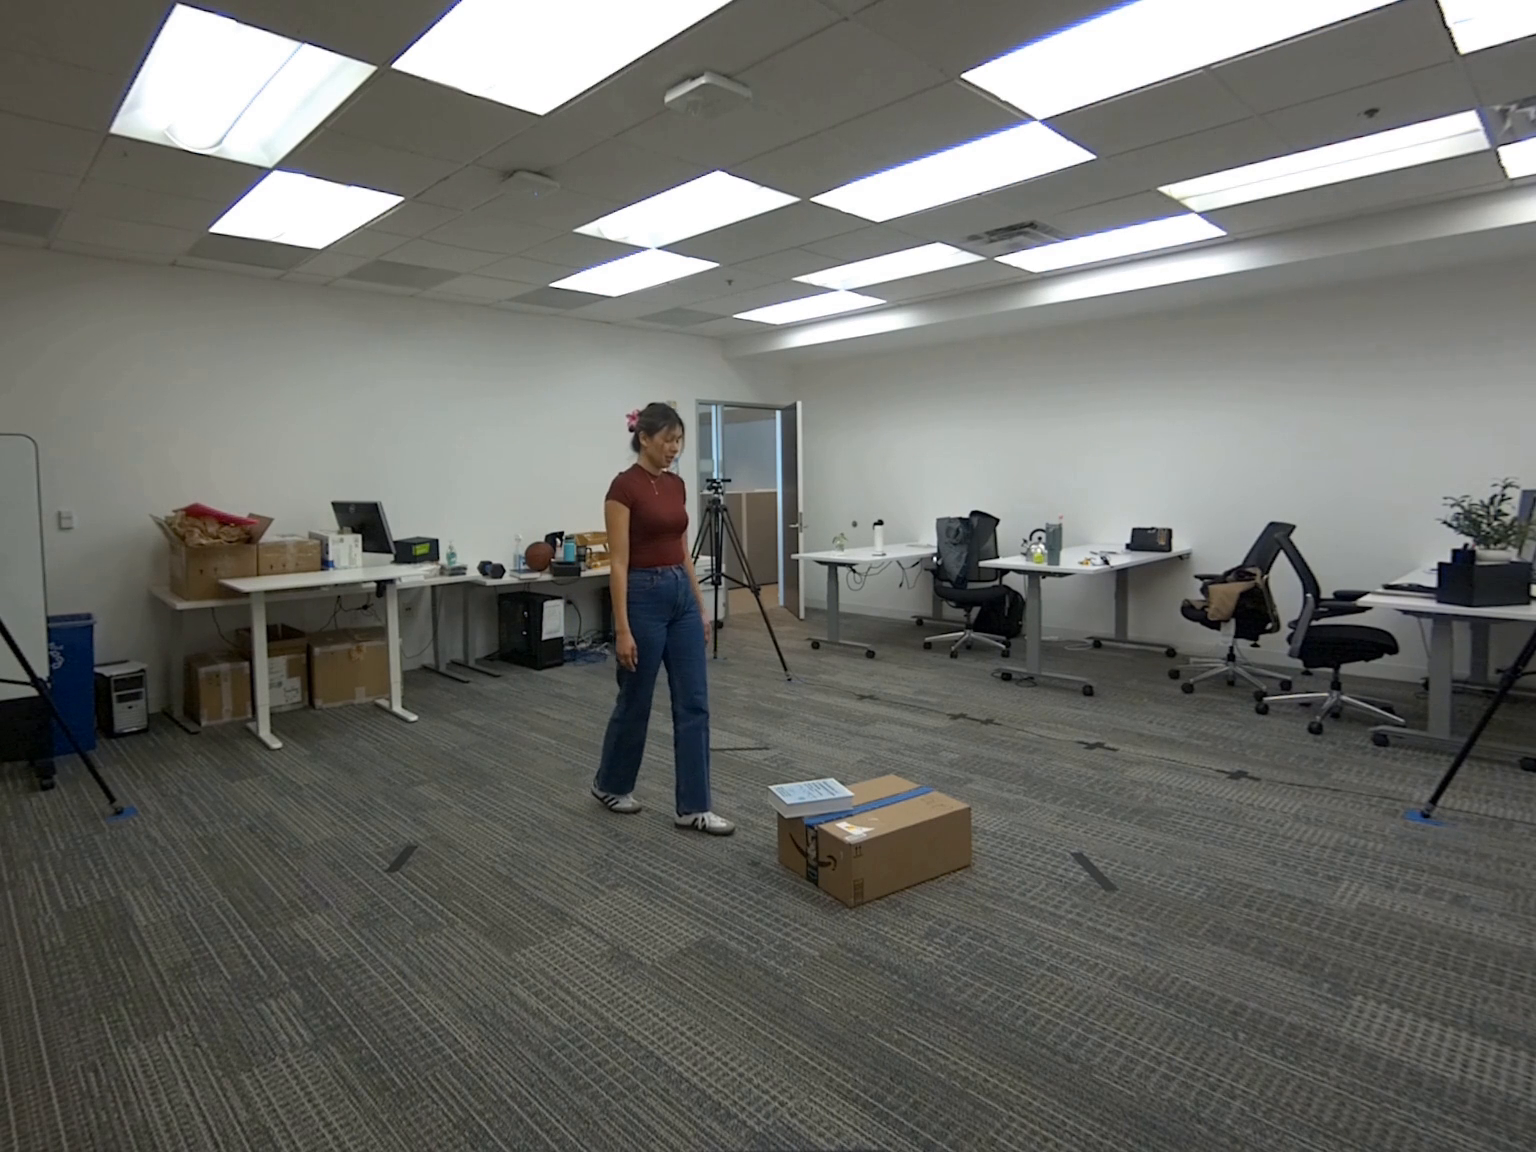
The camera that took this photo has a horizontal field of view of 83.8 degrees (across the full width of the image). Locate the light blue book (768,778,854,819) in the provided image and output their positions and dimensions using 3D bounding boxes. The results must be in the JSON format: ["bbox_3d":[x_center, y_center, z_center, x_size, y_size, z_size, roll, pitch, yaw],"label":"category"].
[{"bbox_3d":[0.153,0.789,3.080,0.256,0.059,0.195,-3,6,-20],"label":"light blue book"}]
